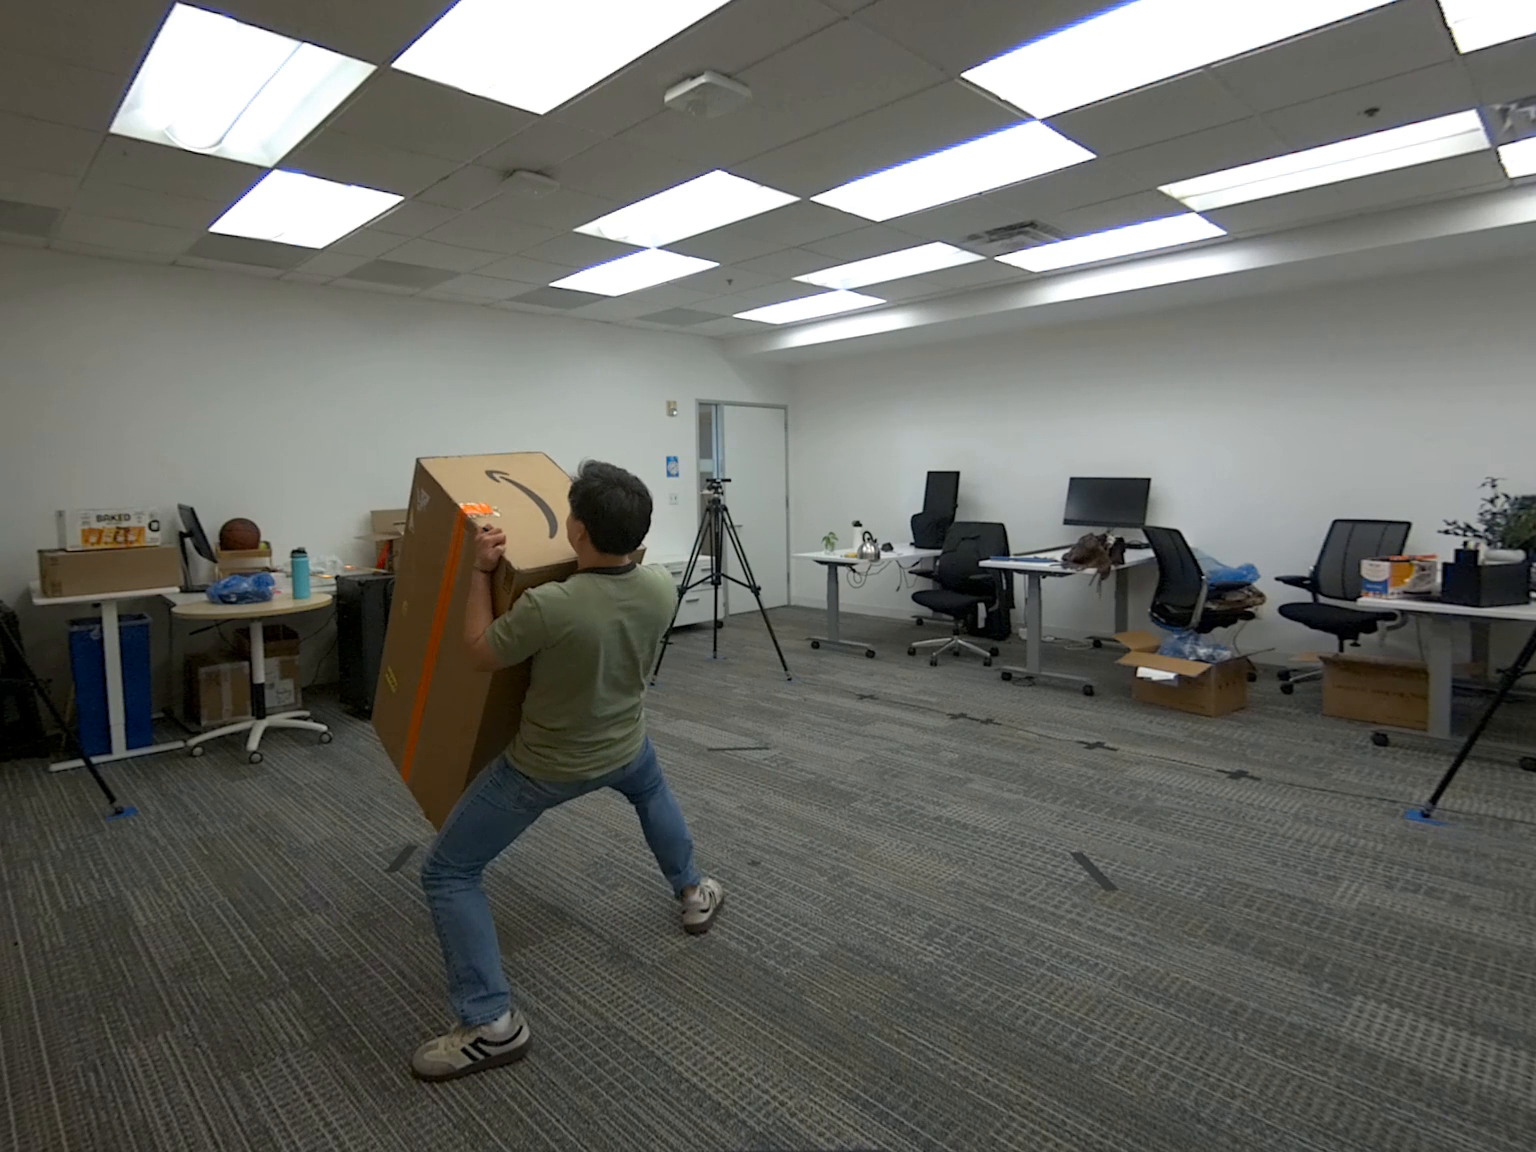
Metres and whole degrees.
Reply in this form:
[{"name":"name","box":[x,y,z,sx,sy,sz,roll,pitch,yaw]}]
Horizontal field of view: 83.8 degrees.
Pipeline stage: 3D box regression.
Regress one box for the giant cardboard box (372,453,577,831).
[{"name":"giant cardboard box","box":[-0.836,0.227,2.642,0.416,1.013,0.599,-10,40,-46]}]
